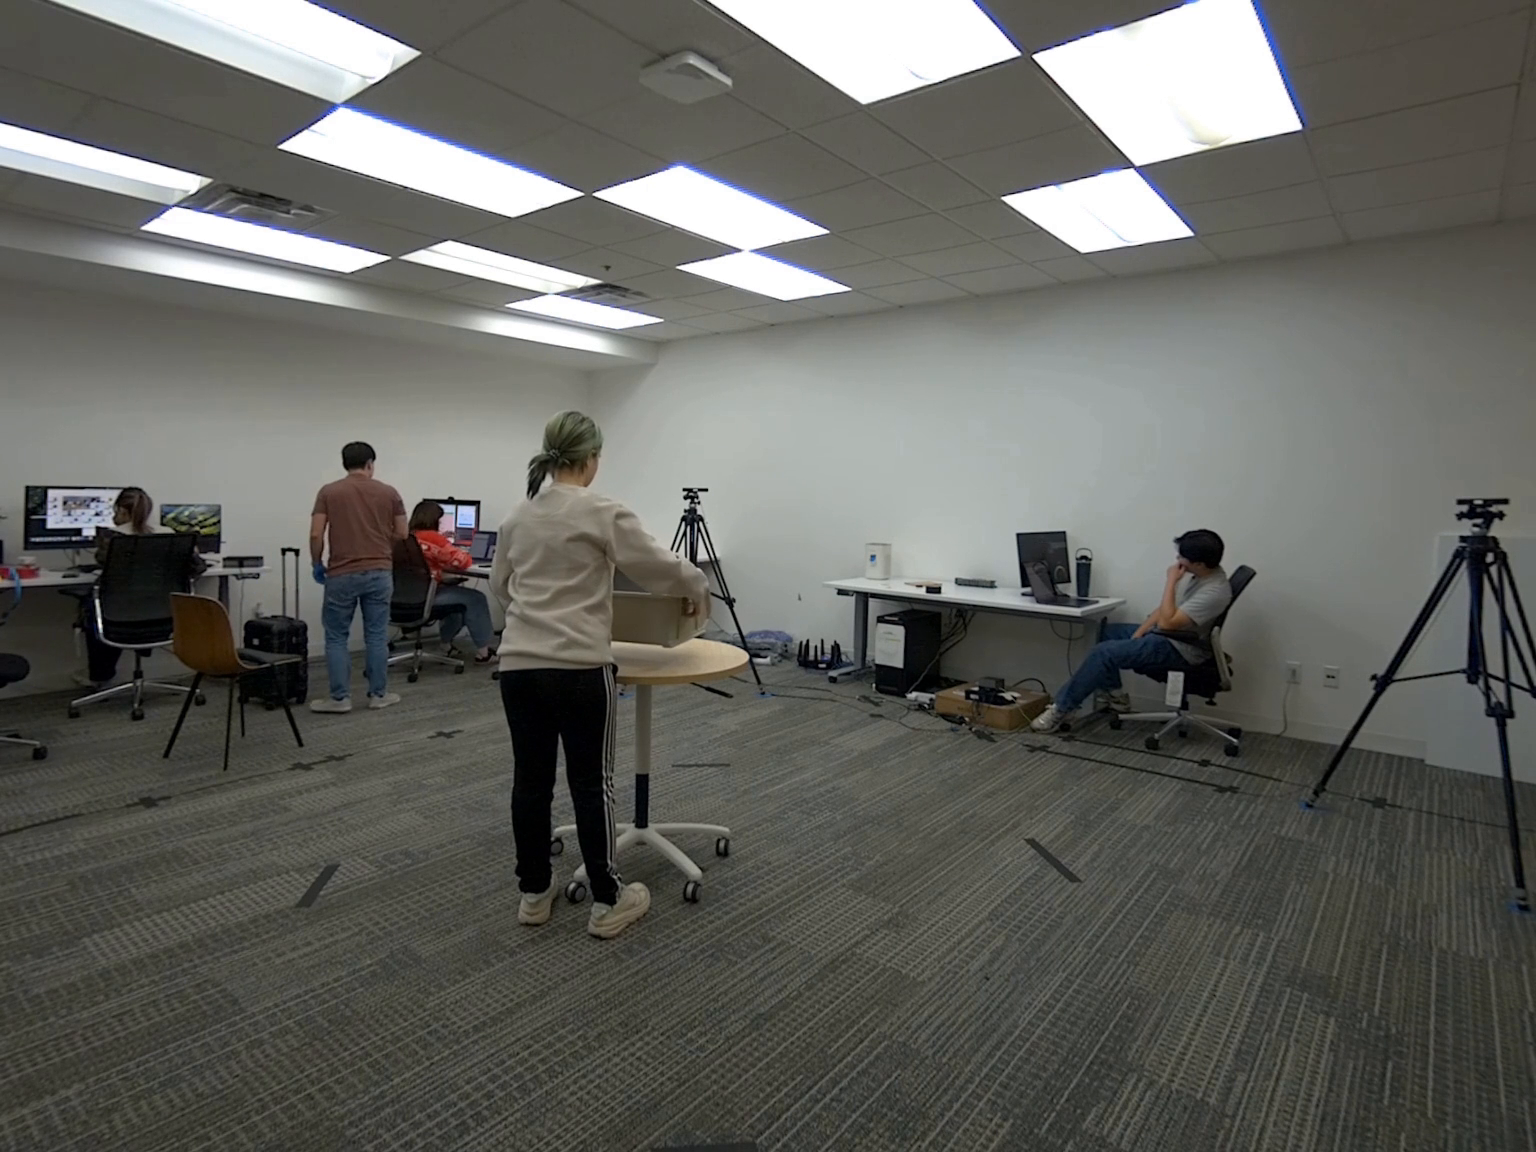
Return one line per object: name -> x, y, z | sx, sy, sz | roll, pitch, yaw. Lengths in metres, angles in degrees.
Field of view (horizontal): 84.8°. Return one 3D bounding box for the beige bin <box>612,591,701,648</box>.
beige bin -> -0.471, 0.118, 3.035 | 0.430, 0.188, 0.373 | 3, 8, 16
